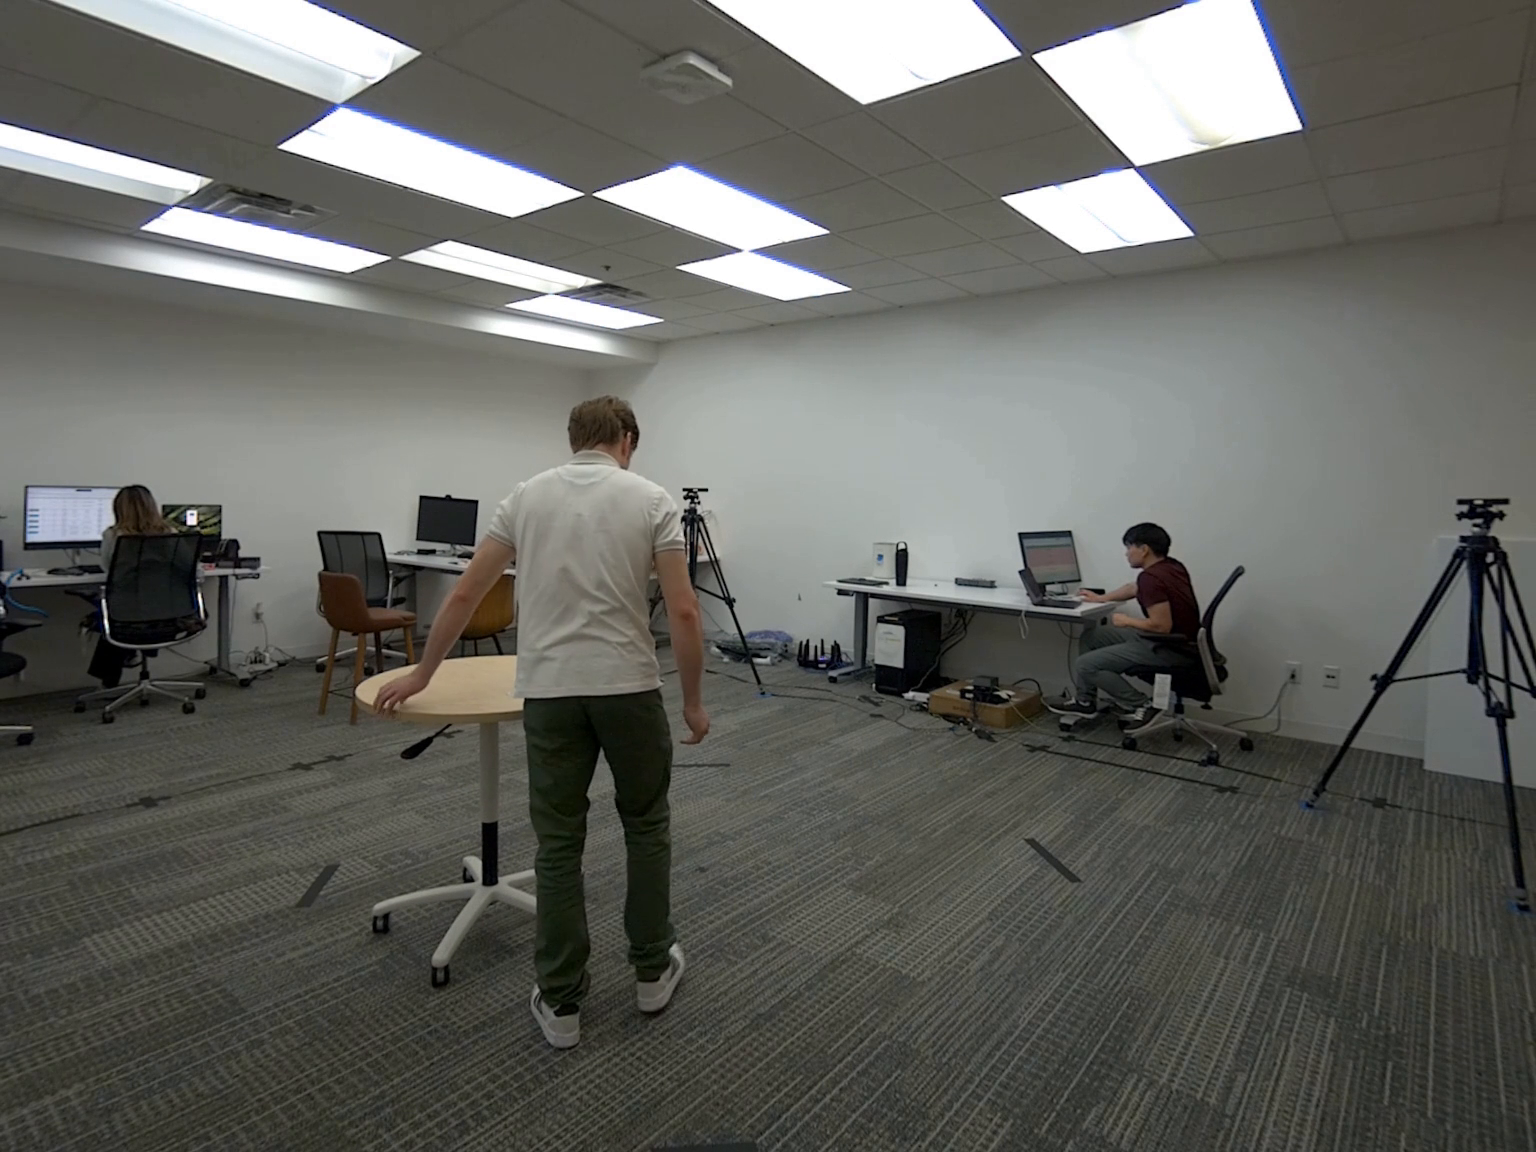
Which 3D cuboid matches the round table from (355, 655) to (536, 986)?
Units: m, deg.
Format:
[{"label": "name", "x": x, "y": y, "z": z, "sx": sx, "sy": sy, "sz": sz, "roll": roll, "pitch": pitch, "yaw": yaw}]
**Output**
[{"label": "round table", "x": -0.867, "y": 0.713, "z": 2.652, "sx": 0.784, "sy": 0.783, "sz": 0.789, "roll": 0, "pitch": 5, "yaw": -2}]
